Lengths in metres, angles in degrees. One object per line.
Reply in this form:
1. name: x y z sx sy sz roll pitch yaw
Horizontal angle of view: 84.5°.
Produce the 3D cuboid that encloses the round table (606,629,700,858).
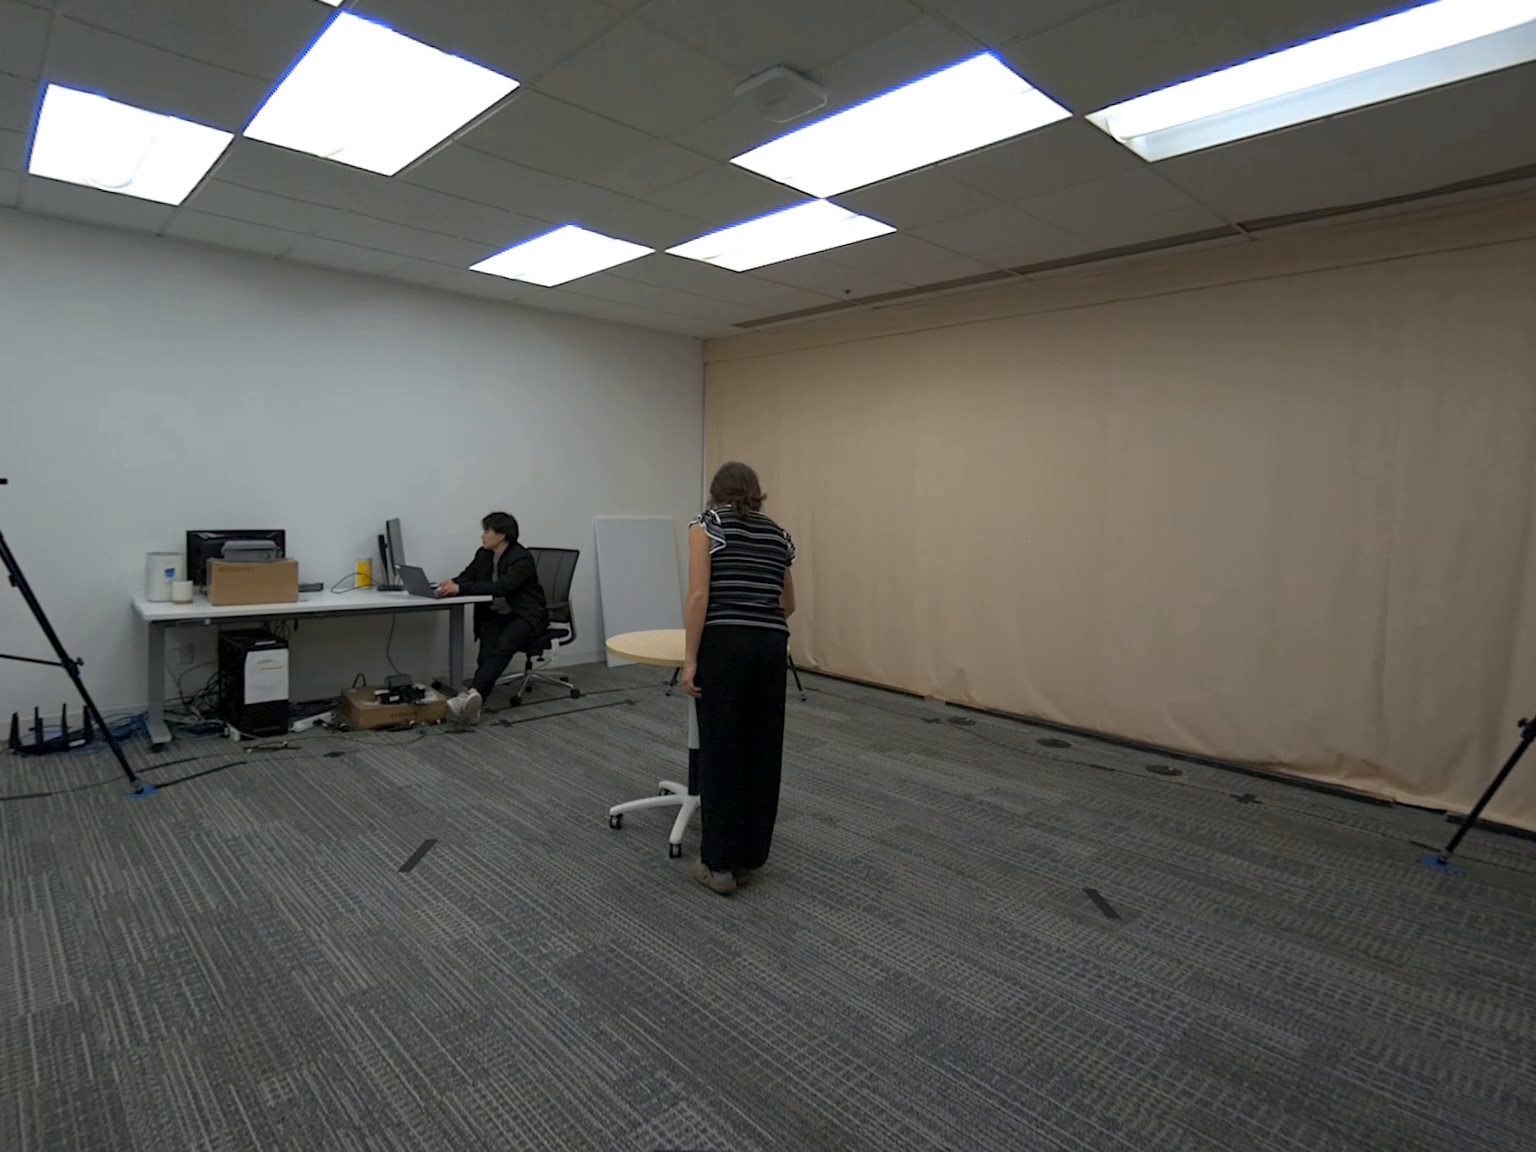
1. round table: -0.318 0.676 3.547 0.763 0.792 0.766 2 4 -2
